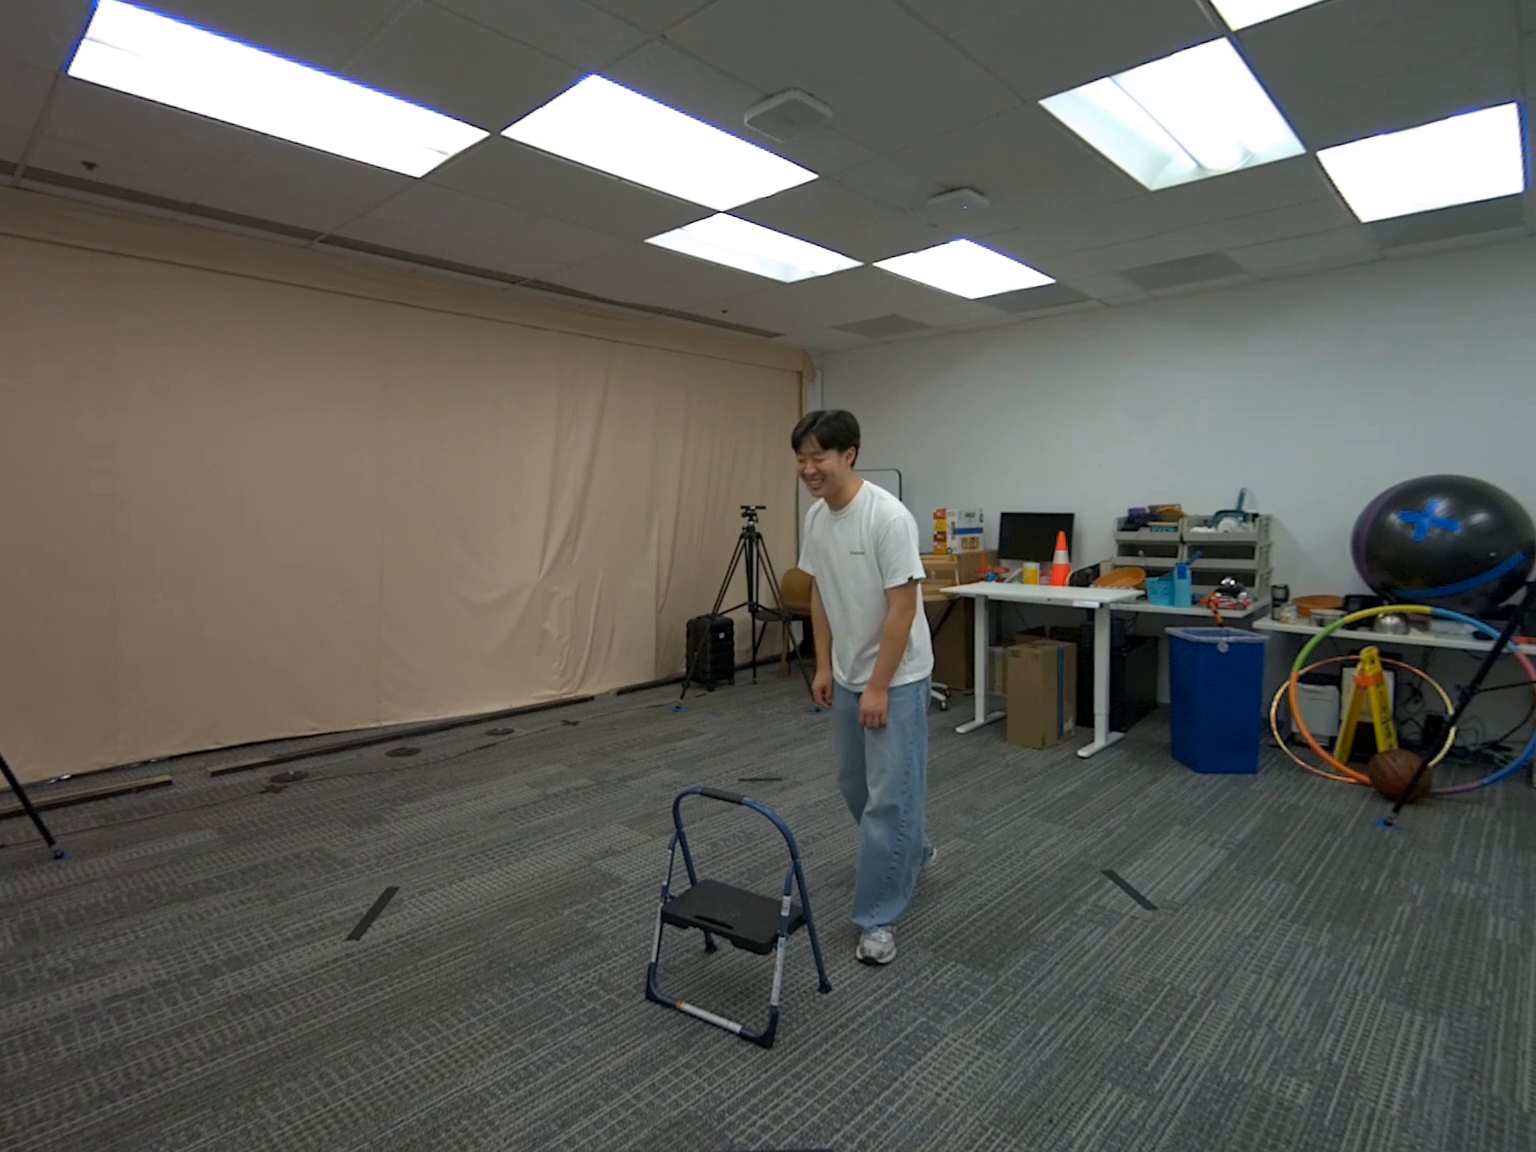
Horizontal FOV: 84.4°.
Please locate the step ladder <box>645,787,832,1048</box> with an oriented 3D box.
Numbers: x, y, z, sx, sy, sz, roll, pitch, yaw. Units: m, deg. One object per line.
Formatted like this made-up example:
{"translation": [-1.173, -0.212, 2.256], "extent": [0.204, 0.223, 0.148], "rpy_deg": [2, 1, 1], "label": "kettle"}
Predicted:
{"translation": [-0.086, 0.892, 2.386], "extent": [0.443, 0.605, 0.340], "rpy_deg": [2, 4, 32], "label": "step ladder"}
